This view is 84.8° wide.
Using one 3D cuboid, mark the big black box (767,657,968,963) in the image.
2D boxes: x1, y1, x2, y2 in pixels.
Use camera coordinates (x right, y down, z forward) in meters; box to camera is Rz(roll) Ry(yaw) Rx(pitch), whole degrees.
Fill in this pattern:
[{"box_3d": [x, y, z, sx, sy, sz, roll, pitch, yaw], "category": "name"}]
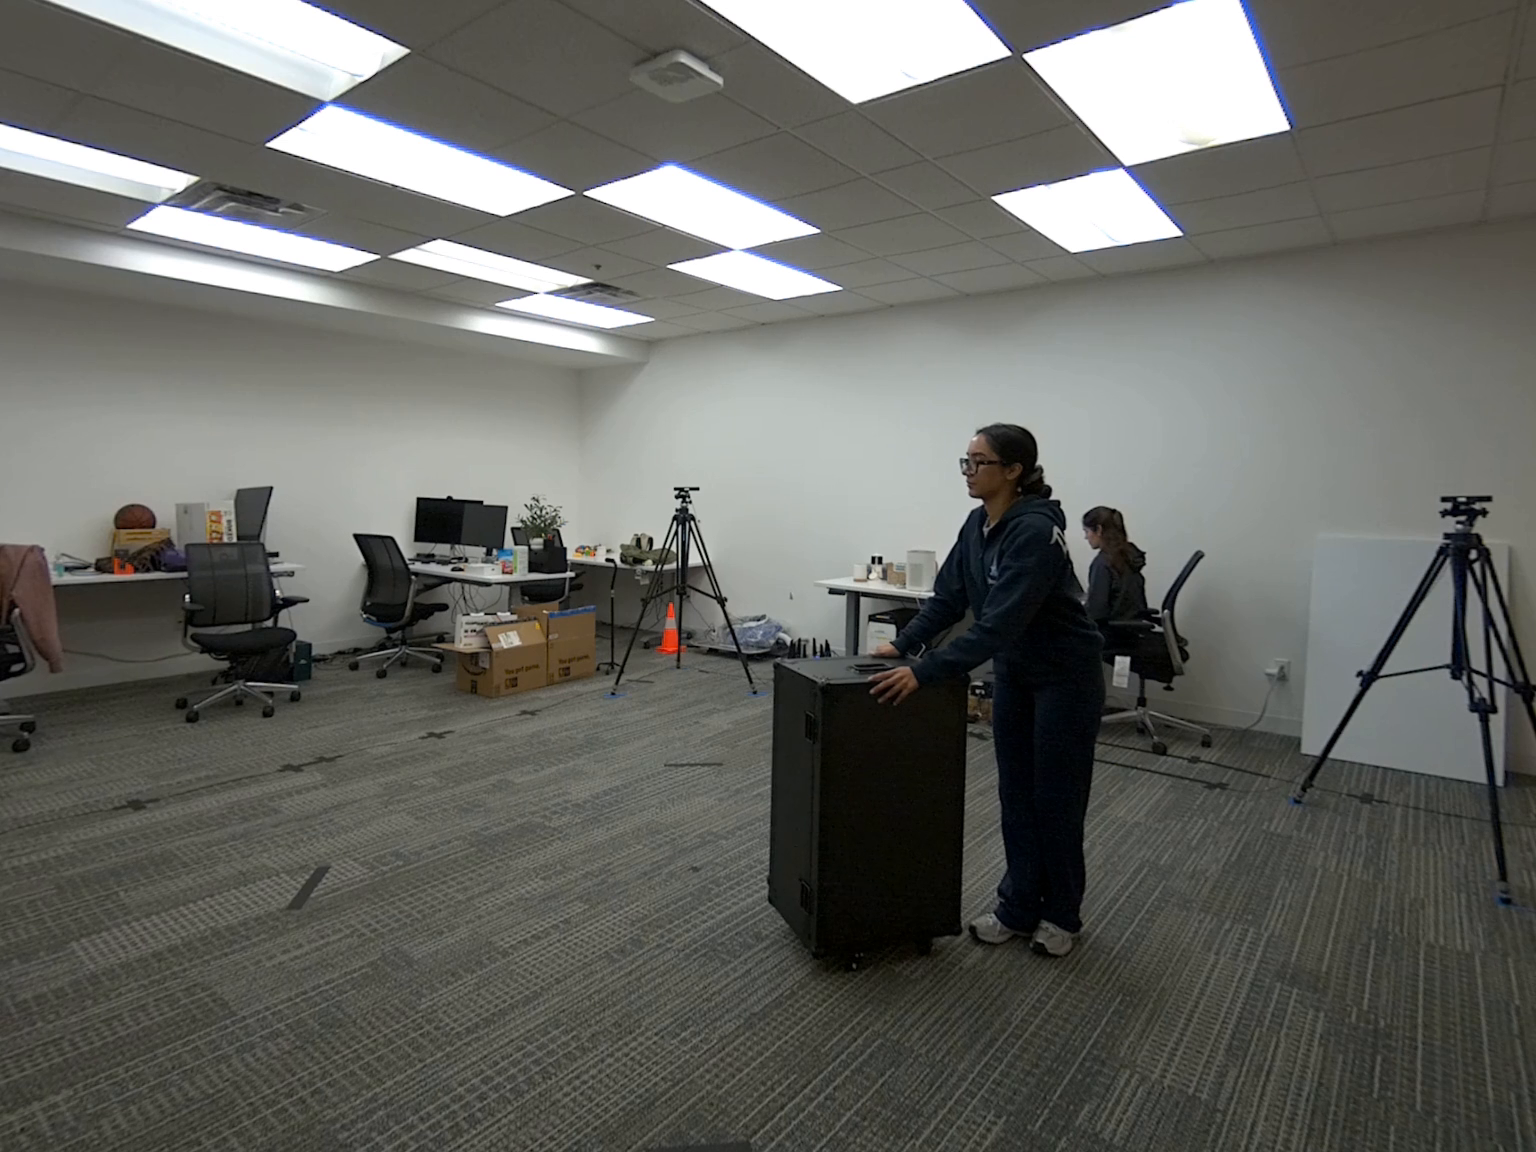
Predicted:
[{"box_3d": [0.281, 0.702, 2.623, 0.510, 0.859, 0.406, 0, 3, -21], "category": "big black box"}]
